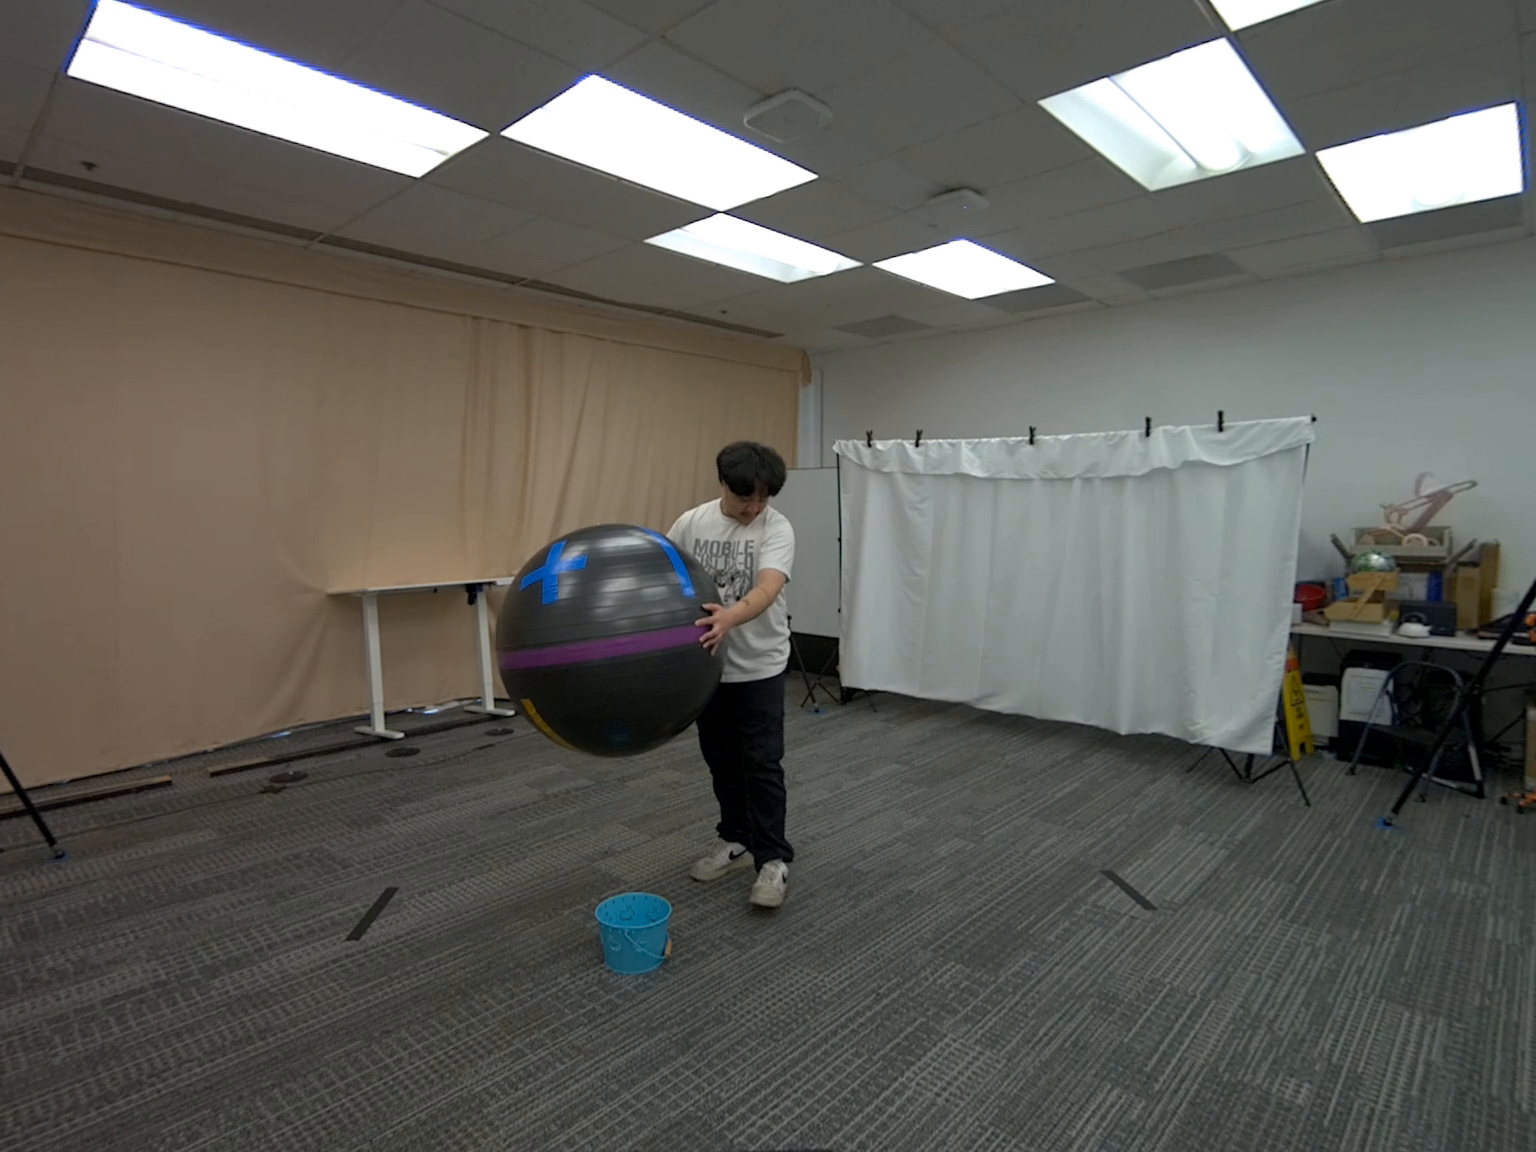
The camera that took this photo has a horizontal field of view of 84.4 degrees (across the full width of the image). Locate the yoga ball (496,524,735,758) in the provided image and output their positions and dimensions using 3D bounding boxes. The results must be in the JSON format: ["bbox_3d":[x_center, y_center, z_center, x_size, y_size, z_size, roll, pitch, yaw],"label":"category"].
[{"bbox_3d":[-0.520,0.215,2.776,0.757,0.756,0.760,0,4,-2],"label":"yoga ball"}]
